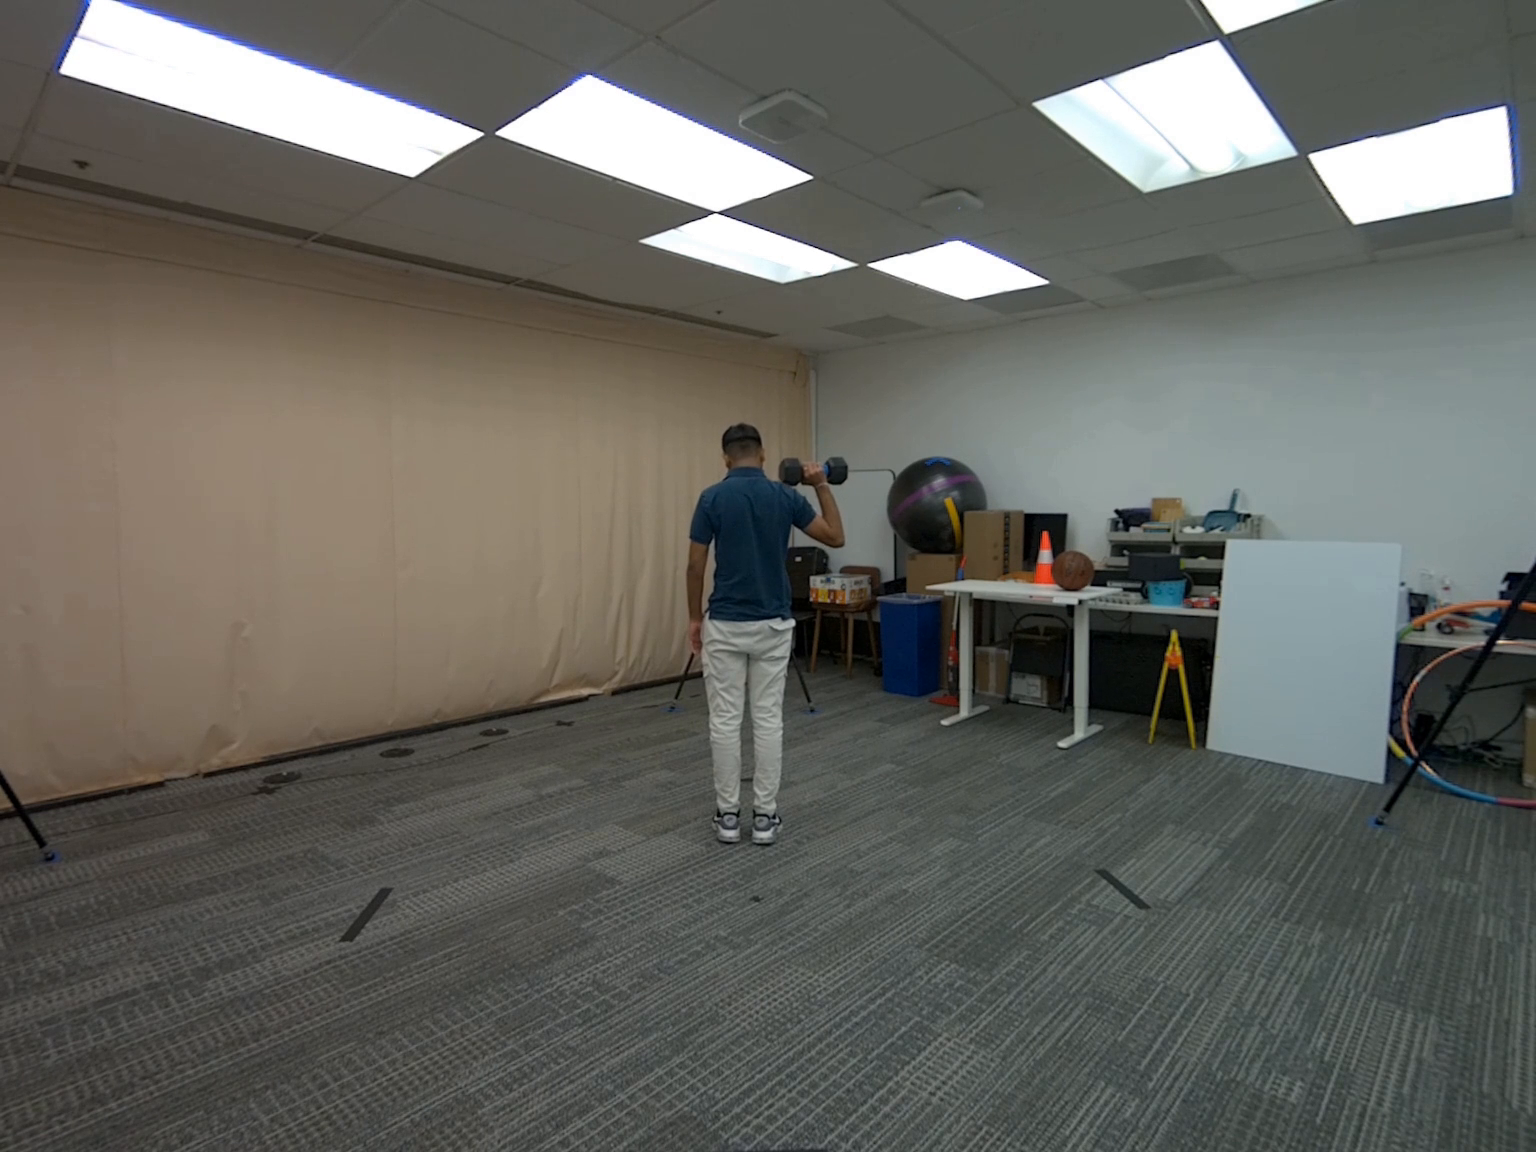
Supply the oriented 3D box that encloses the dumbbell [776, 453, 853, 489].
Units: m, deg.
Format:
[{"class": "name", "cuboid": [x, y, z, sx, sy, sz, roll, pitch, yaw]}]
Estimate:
[{"class": "dumbbell", "cuboid": [0.197, -0.456, 3.665, 0.290, 0.110, 0.123, -3, -16, -10]}]
